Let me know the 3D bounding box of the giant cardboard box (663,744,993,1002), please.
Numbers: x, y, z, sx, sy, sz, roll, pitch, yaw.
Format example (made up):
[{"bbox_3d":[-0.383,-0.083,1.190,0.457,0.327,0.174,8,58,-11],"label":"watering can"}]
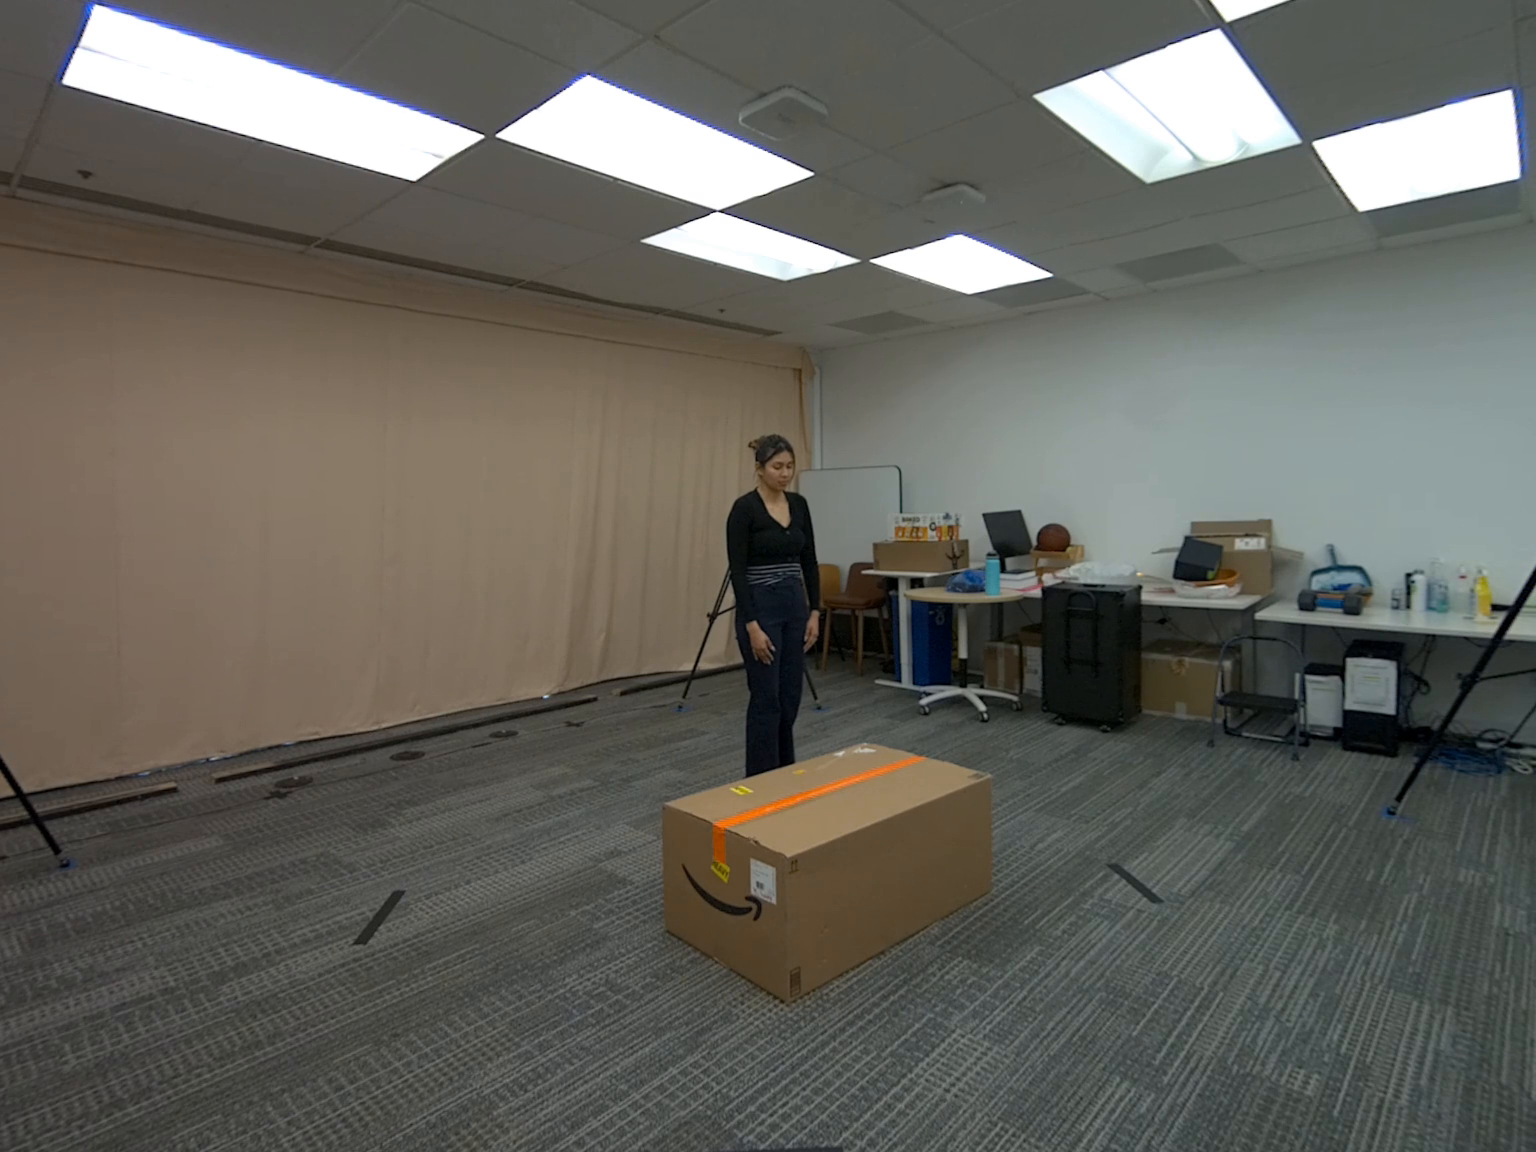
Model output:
[{"bbox_3d":[0.229,0.932,2.864,0.995,0.425,0.596,-5,5,-42],"label":"giant cardboard box"}]
